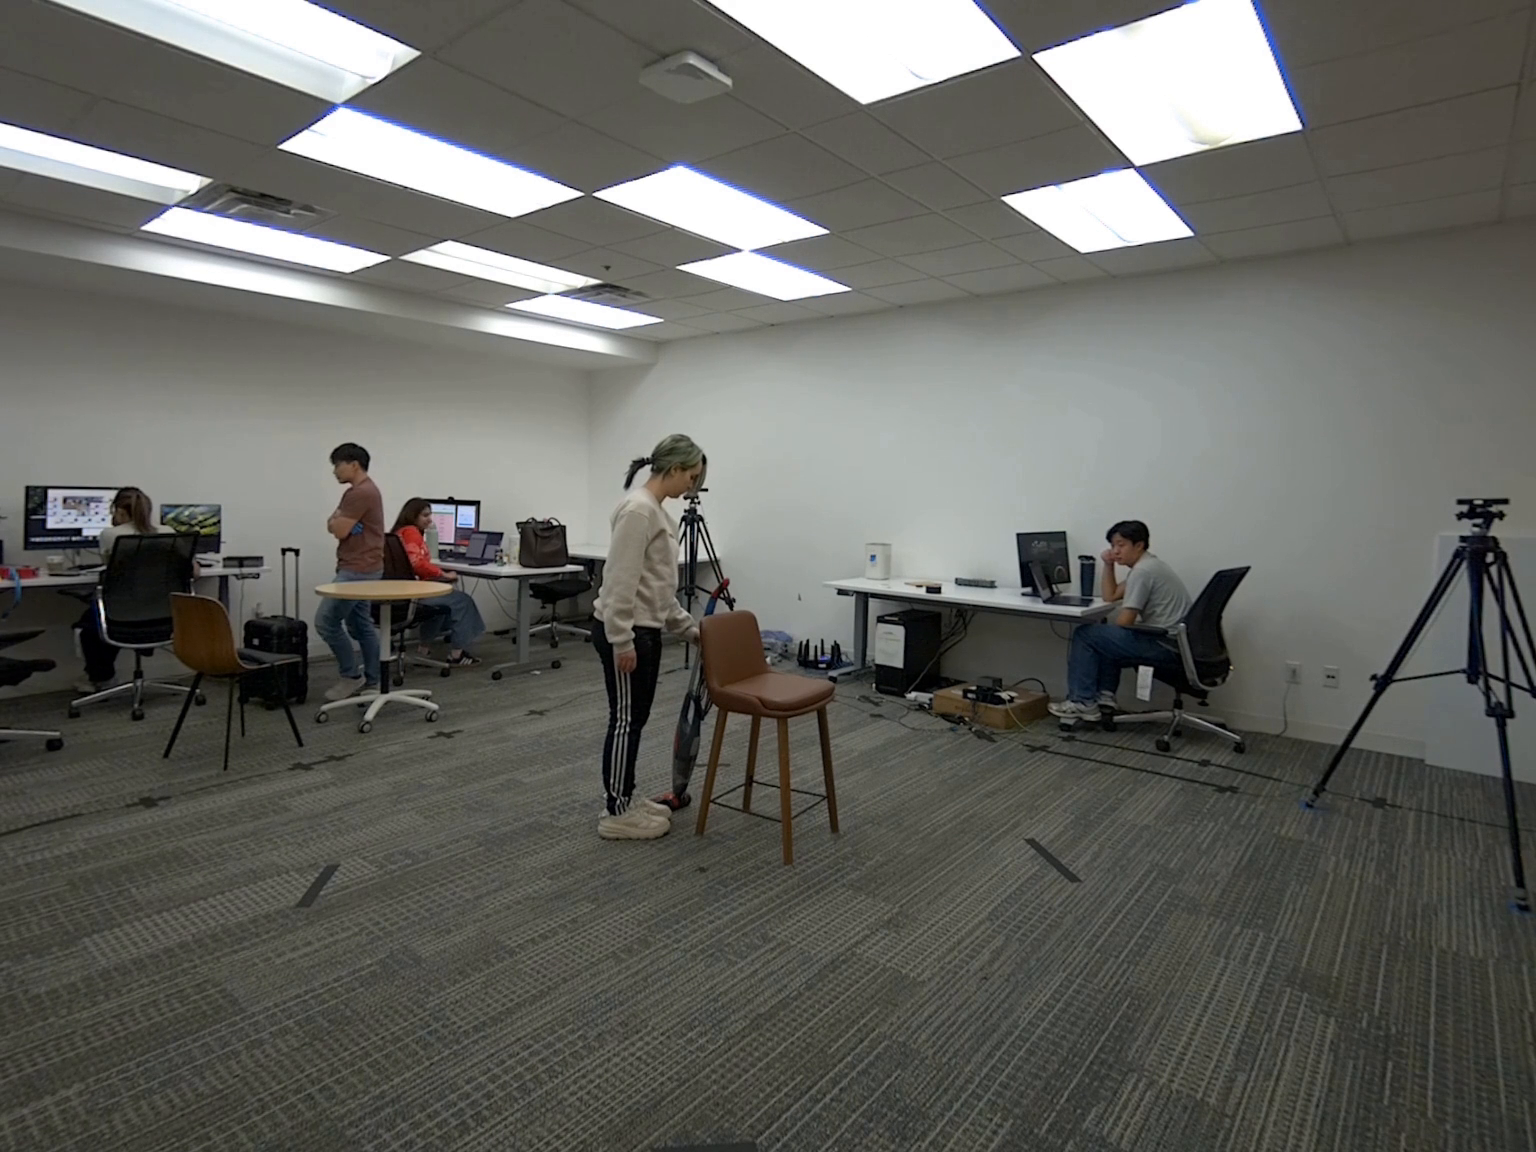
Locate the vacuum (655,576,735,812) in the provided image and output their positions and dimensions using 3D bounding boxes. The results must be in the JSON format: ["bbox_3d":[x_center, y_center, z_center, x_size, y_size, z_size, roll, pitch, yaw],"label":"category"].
[{"bbox_3d":[-0.319,0.518,3.648,0.149,1.042,0.246,20,11,28],"label":"vacuum"}]
